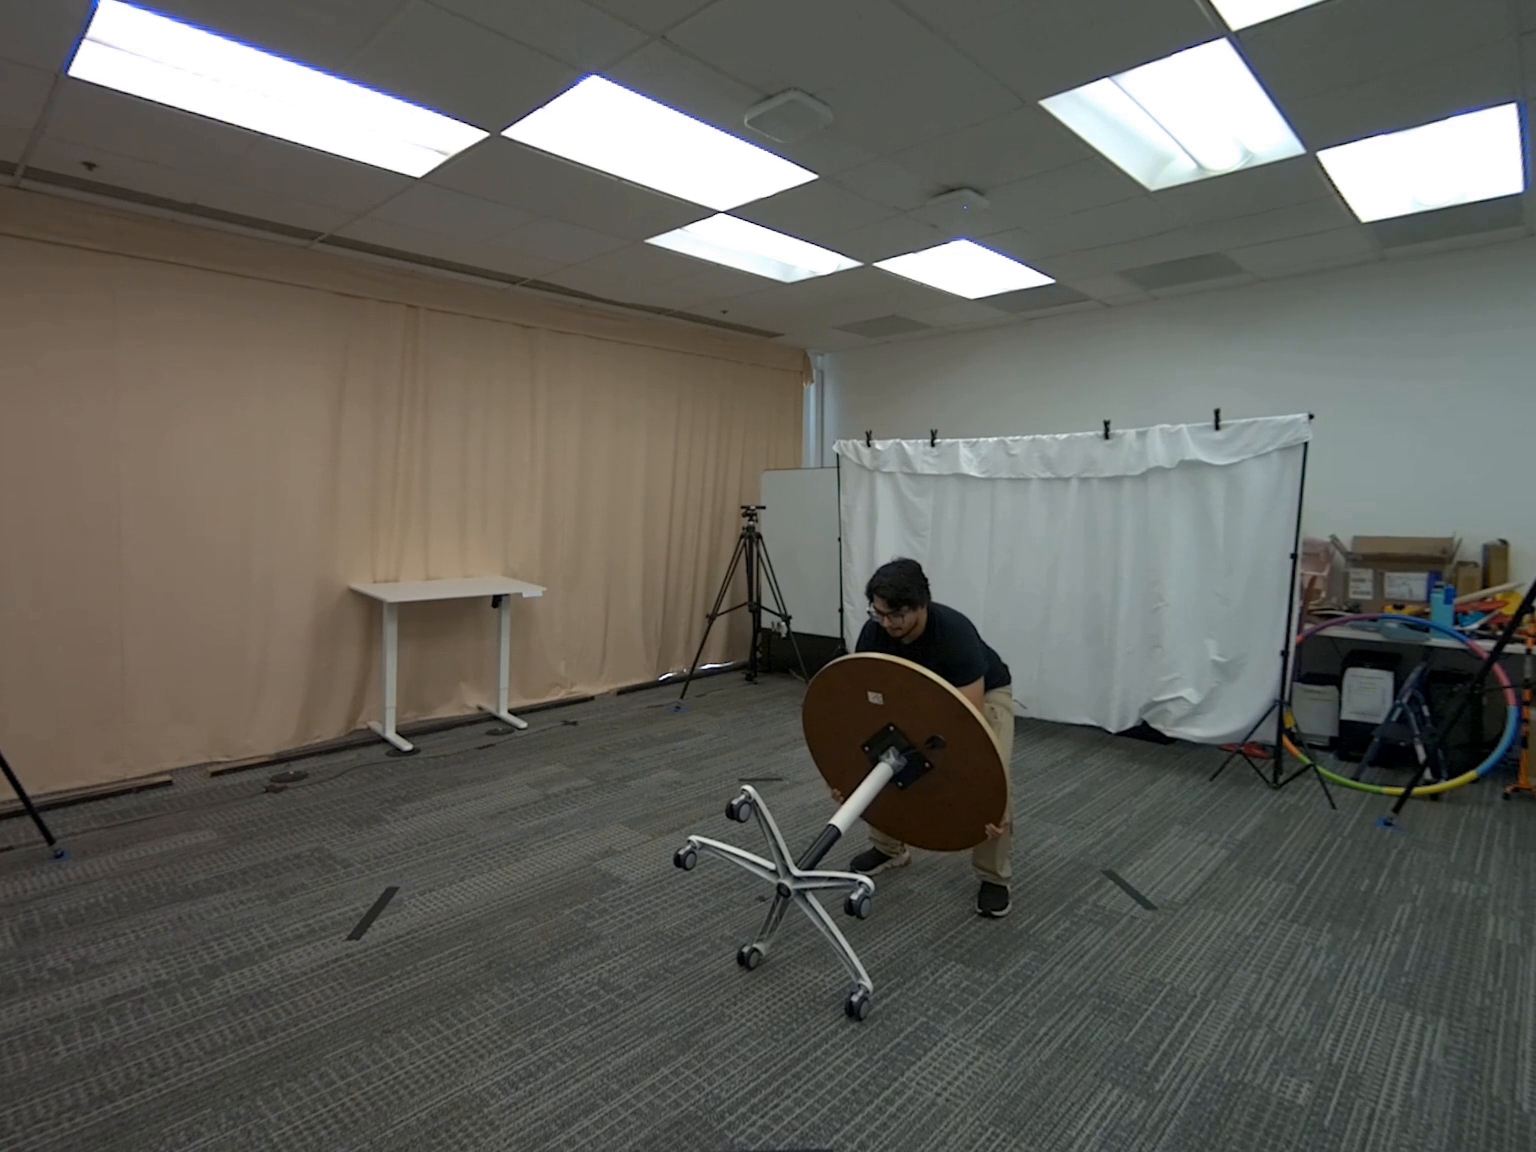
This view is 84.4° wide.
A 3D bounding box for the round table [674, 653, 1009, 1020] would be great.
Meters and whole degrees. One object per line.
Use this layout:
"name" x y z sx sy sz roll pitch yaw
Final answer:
"round table" 0.225 0.769 2.609 0.811 0.772 0.773 3 26 40
